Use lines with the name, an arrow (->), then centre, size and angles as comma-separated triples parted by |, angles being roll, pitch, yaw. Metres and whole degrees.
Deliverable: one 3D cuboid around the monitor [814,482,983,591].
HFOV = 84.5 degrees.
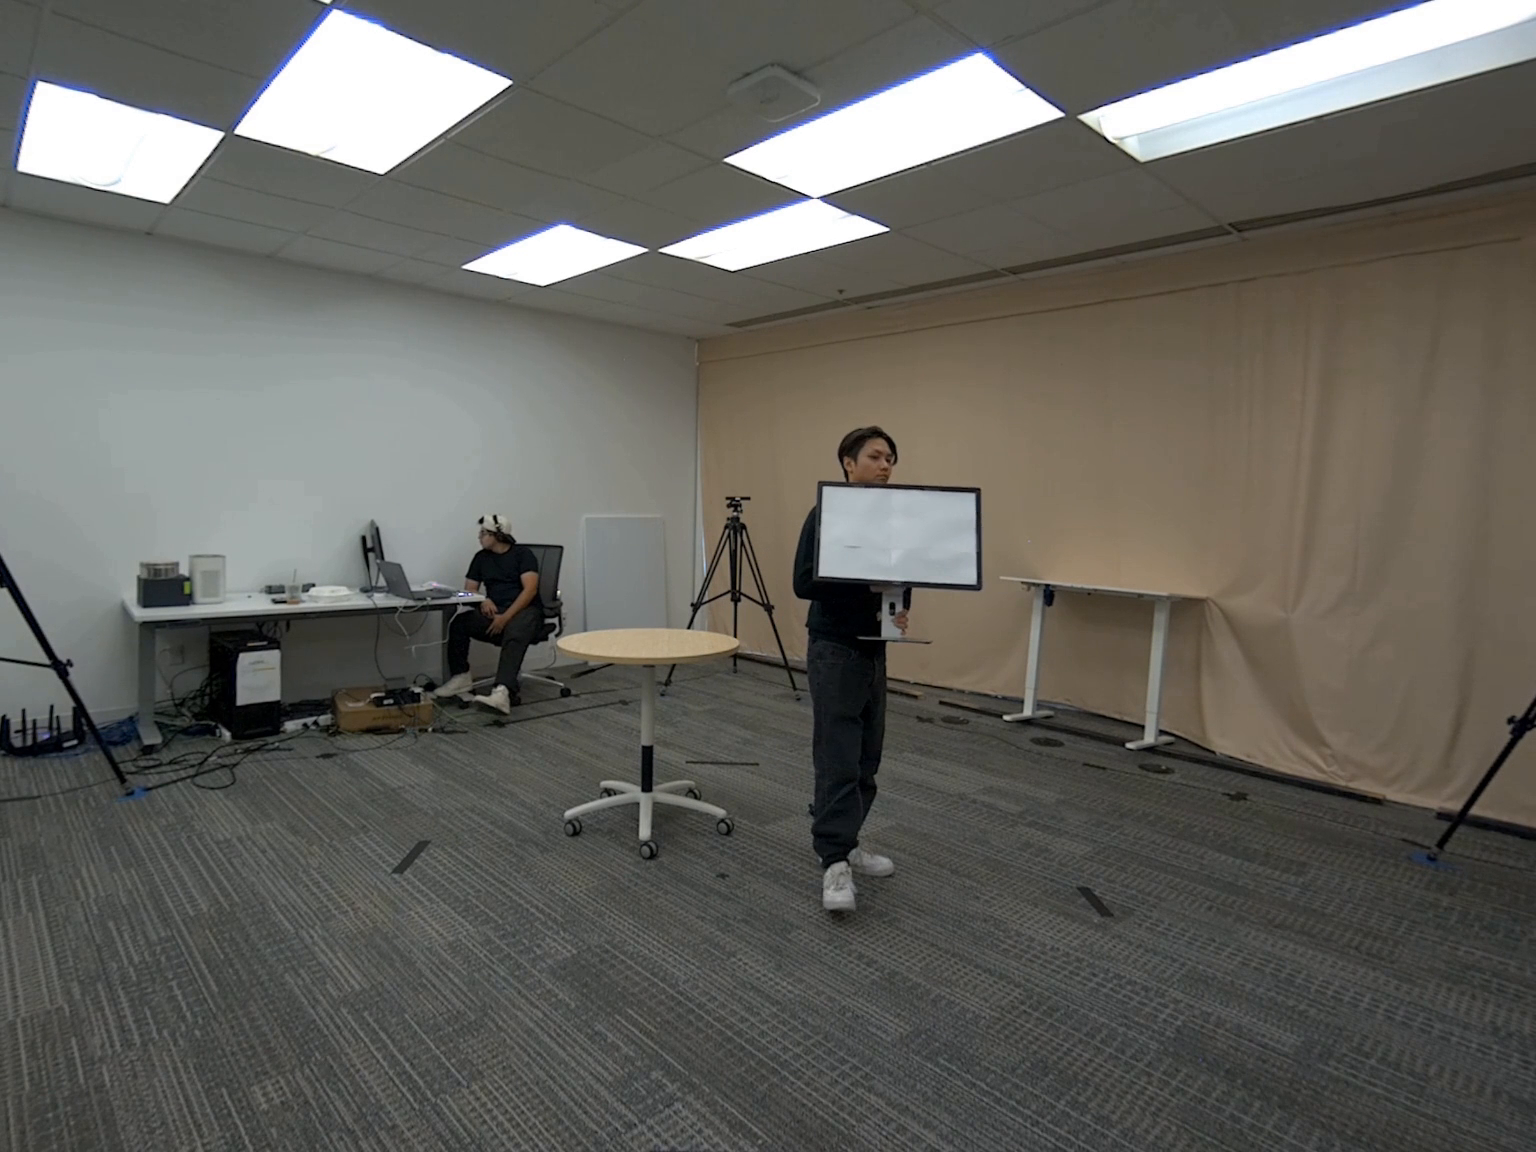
monitor -> 0.436, -0.044, 2.885 | 0.532, 0.516, 0.174 | 4, -1, 5
